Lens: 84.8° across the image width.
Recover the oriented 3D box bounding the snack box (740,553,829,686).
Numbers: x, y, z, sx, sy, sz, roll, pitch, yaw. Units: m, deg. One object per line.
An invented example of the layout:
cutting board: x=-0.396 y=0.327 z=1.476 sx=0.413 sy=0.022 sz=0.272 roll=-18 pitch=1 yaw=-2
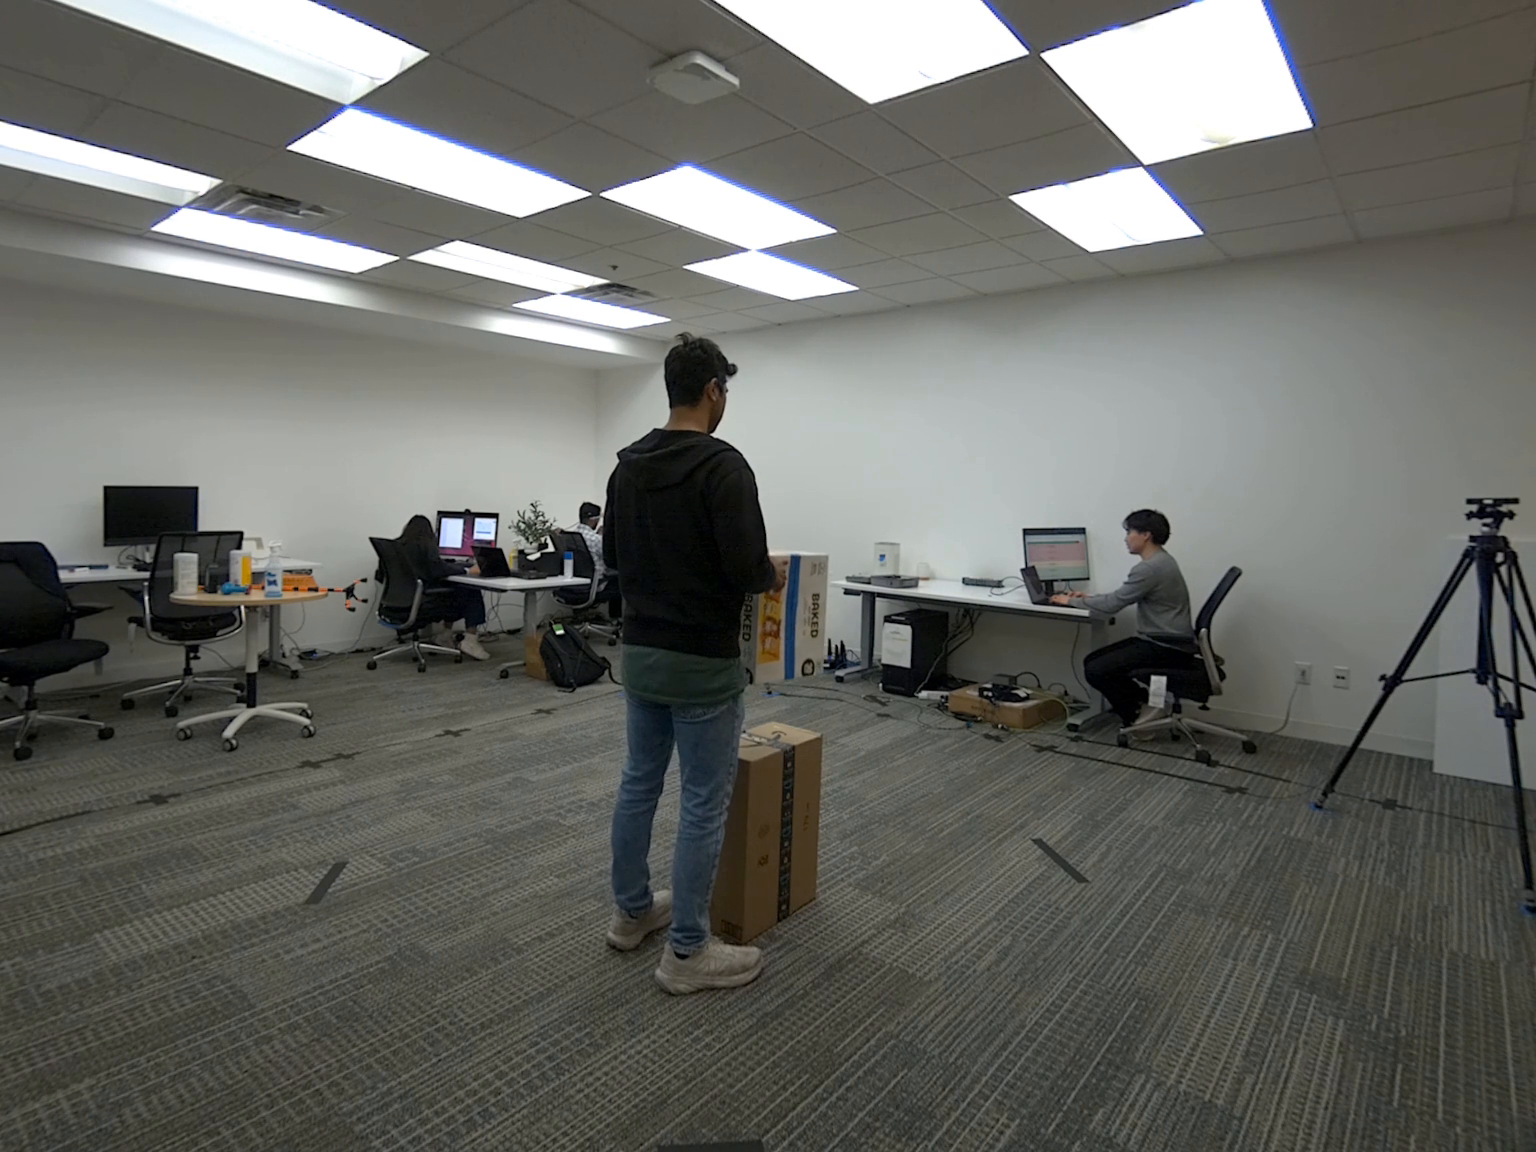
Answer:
snack box: x=-0.004 y=0.121 z=2.781 sx=0.213 sy=0.404 sz=0.329 roll=4 pitch=3 yaw=43
